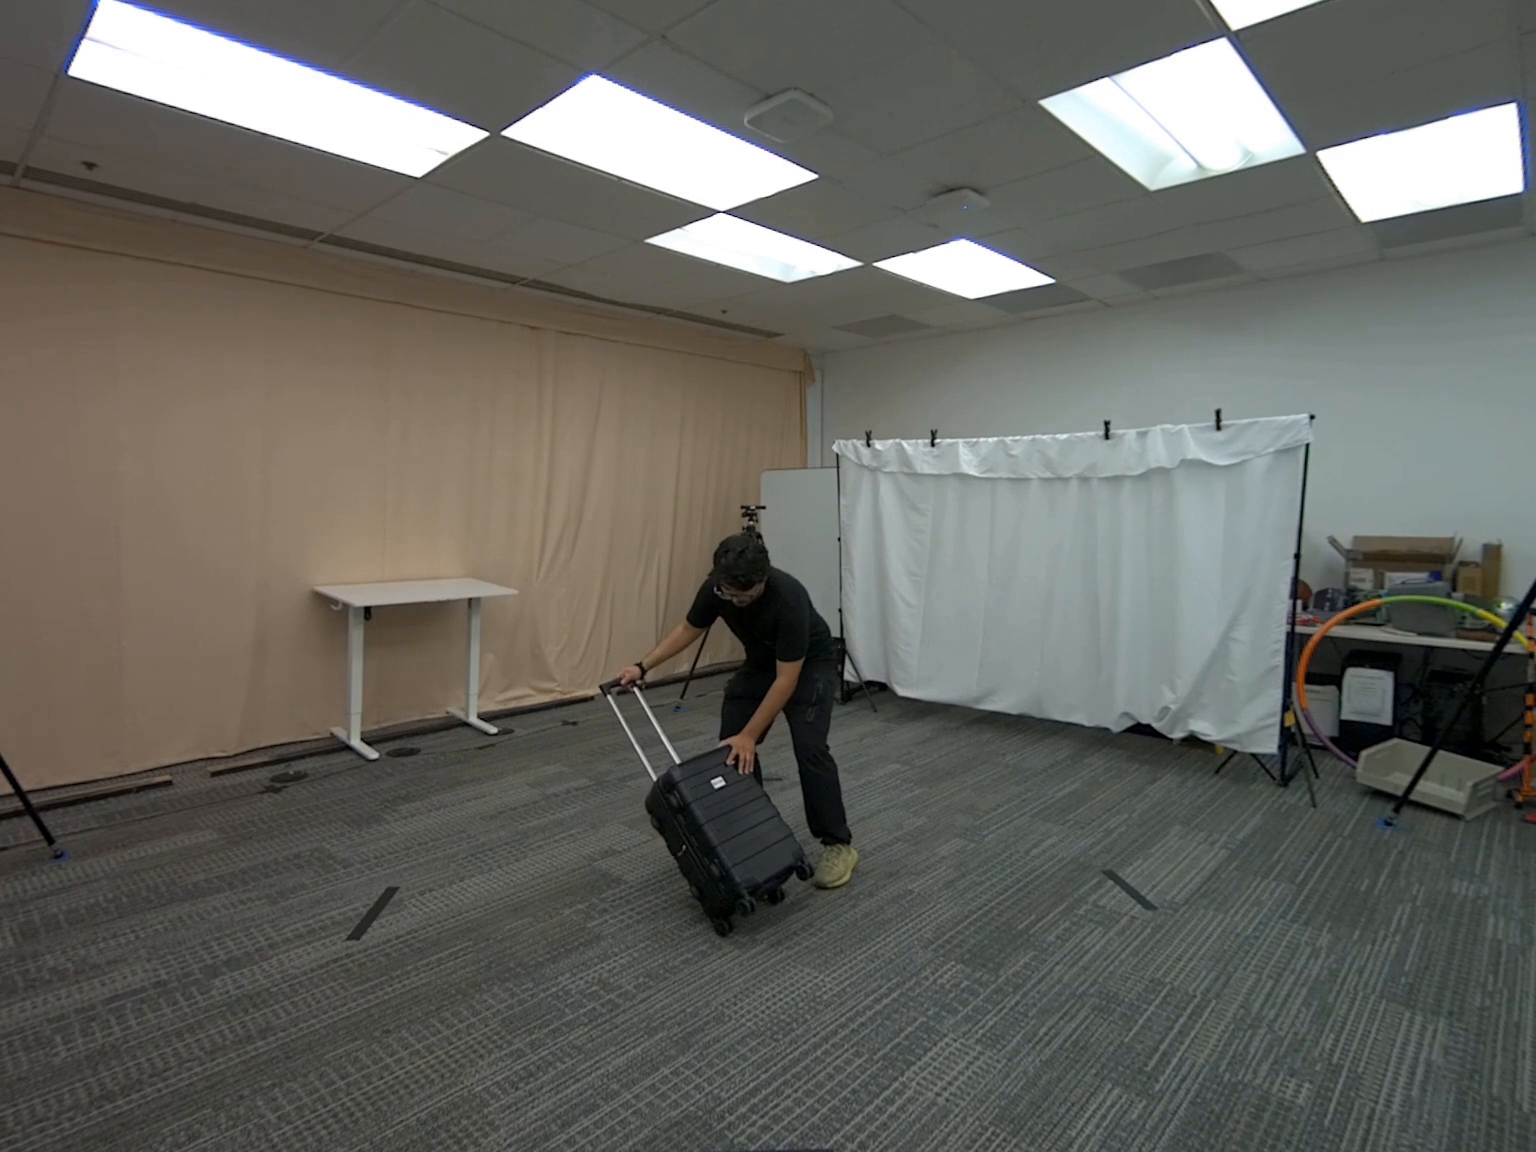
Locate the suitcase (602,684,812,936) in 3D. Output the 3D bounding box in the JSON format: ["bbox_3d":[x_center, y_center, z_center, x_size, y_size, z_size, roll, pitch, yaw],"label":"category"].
[{"bbox_3d":[-0.254,0.715,2.972,0.373,1.002,0.258,-10,-32,-45],"label":"suitcase"}]
